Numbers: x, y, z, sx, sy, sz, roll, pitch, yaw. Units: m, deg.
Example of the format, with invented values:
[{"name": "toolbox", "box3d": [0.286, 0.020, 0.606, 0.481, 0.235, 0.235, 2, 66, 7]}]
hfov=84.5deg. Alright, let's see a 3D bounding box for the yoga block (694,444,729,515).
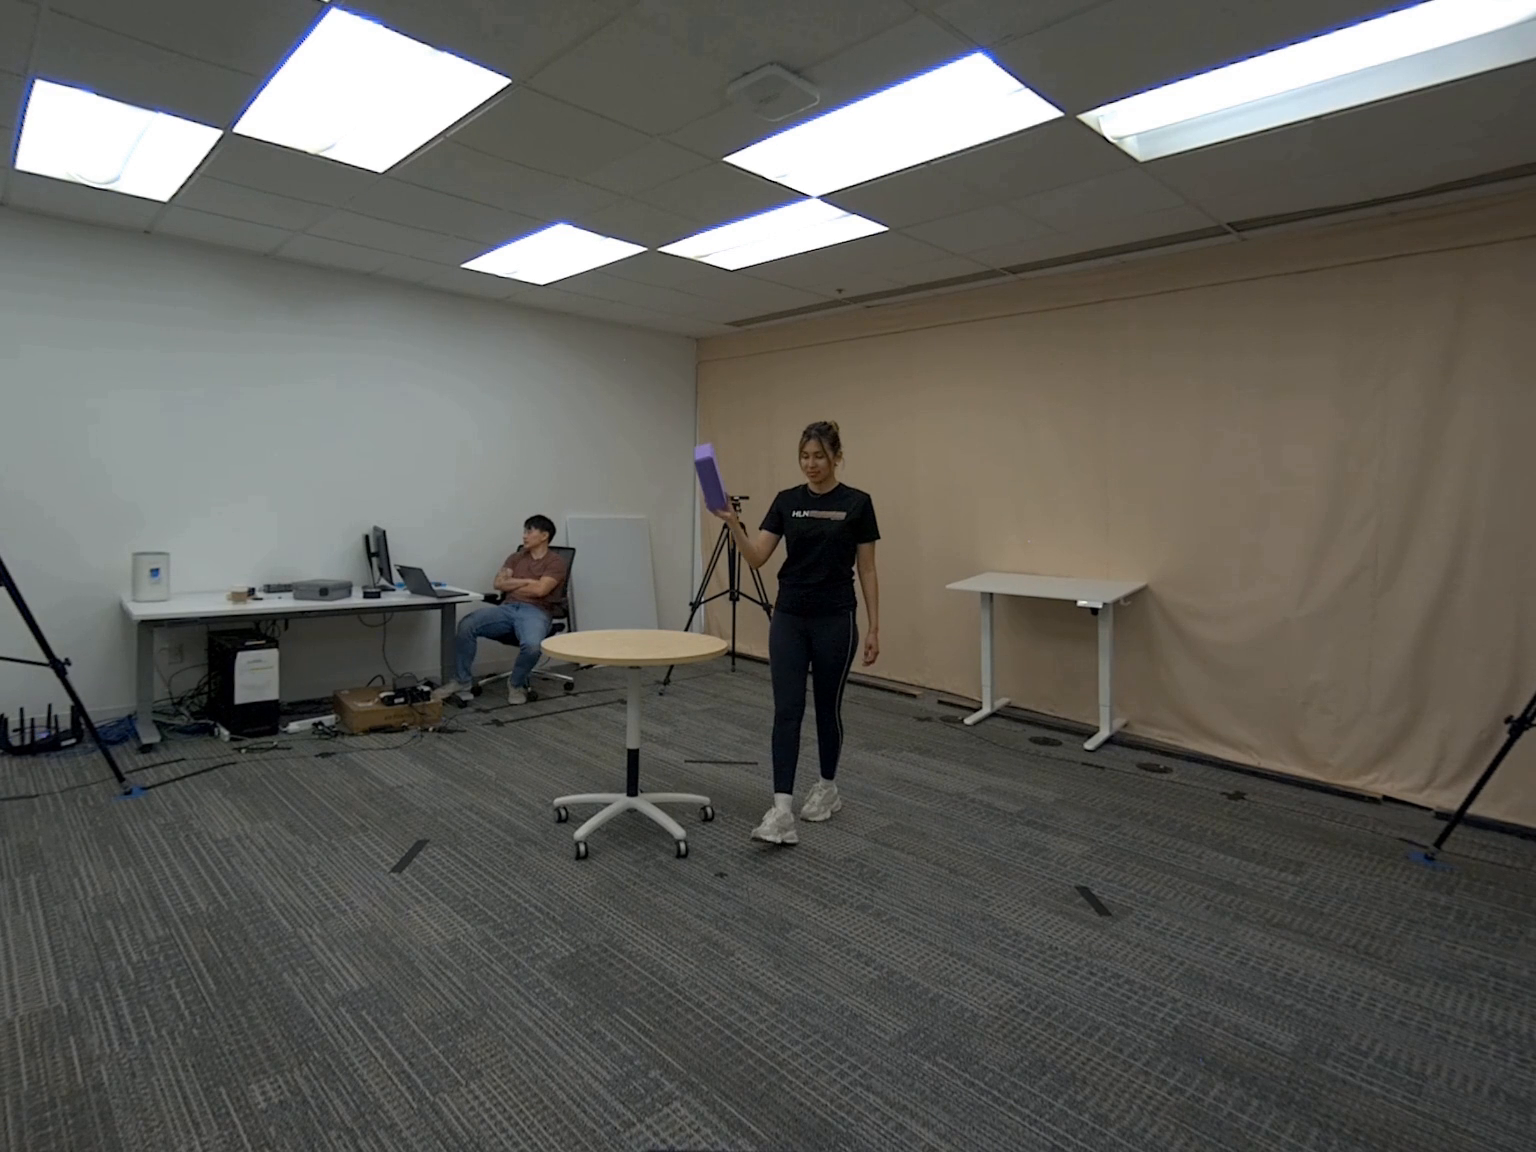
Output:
[{"name": "yoga block", "box3d": [-0.241, -0.401, 3.364, 0.077, 0.224, 0.151, -11, 27, 6]}]
